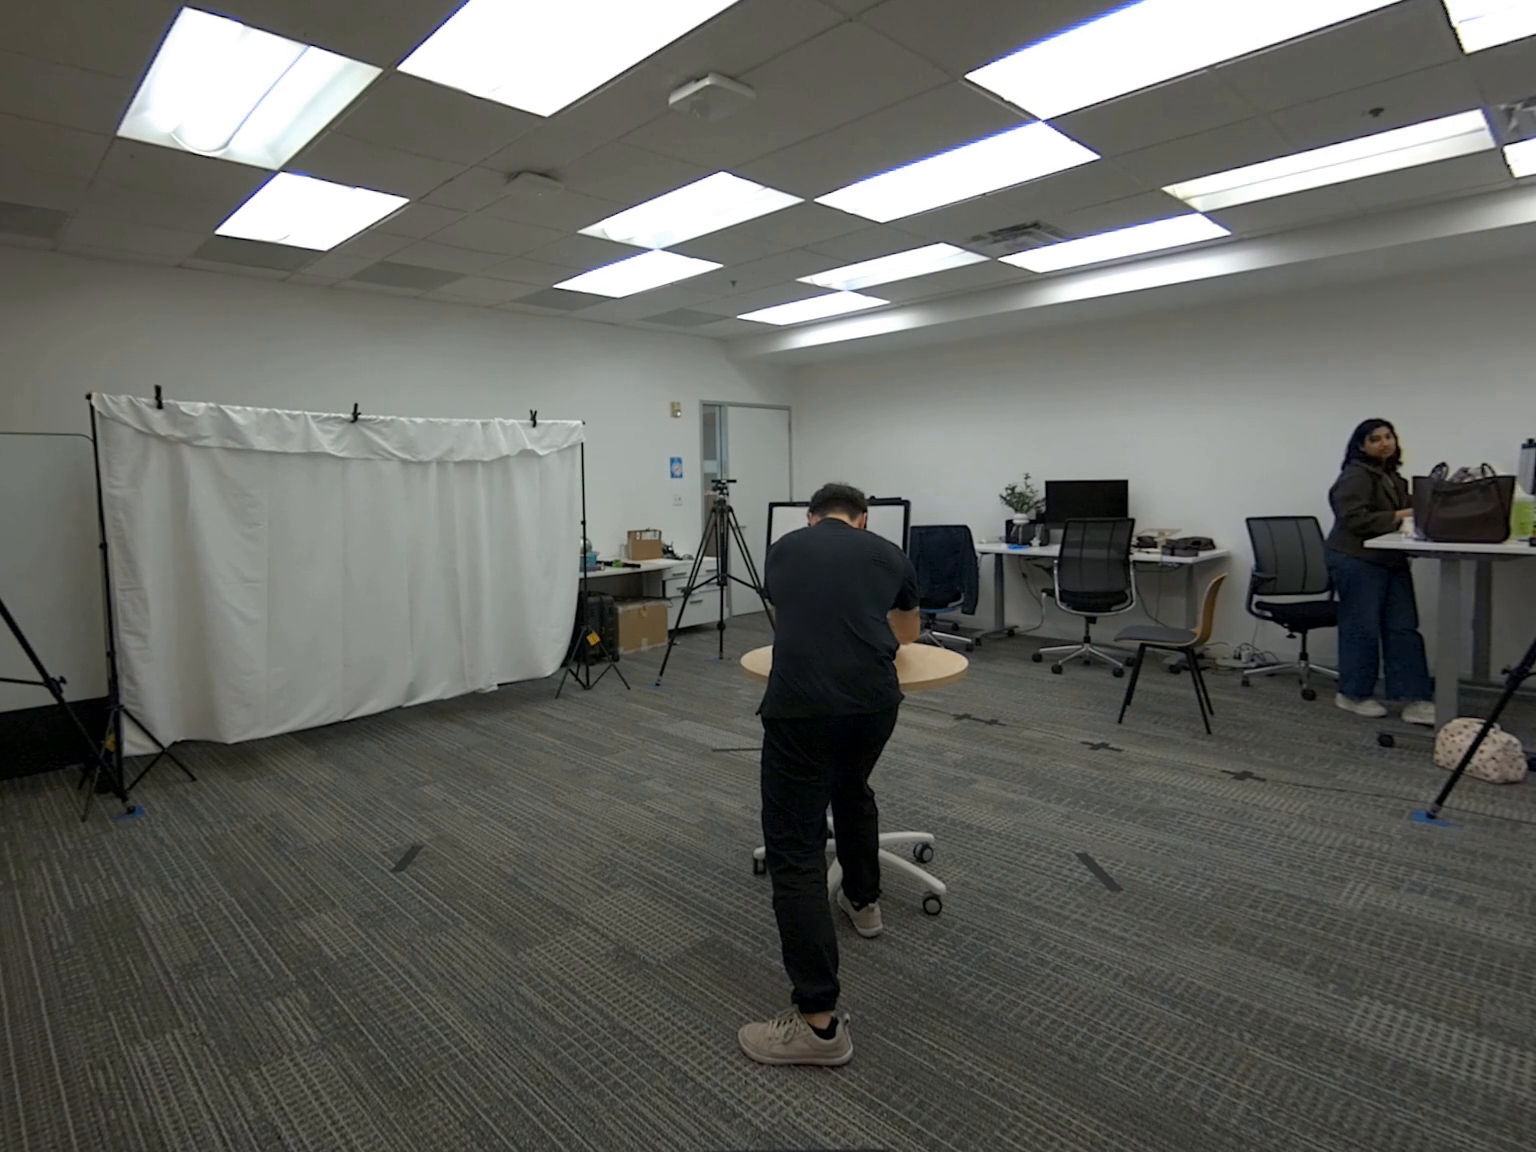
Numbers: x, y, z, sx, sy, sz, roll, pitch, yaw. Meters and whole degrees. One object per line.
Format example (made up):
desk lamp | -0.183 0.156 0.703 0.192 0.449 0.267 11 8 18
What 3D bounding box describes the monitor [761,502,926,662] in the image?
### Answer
monitor | 0.264 0.002 3.074 0.554 0.520 0.183 2 6 33
